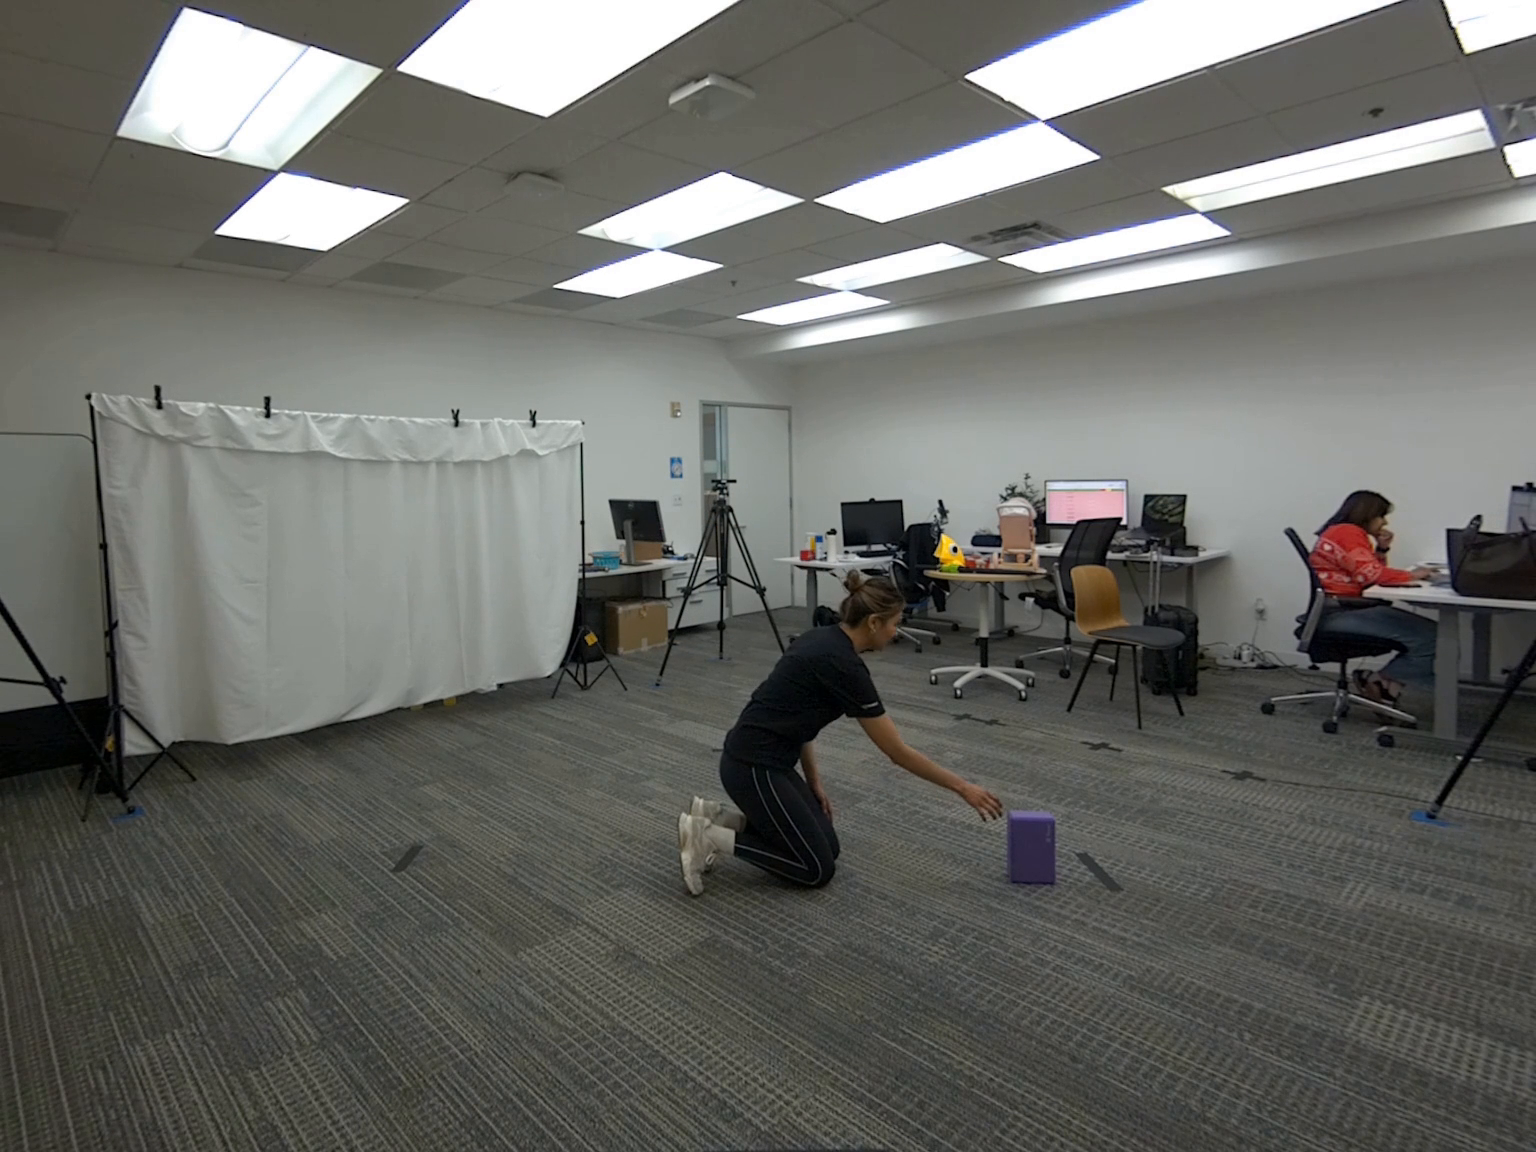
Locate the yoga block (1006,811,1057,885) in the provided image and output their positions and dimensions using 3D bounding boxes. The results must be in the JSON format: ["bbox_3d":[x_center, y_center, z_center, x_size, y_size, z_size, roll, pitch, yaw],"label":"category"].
[{"bbox_3d":[0.906,0.929,2.935,0.150,0.229,0.076,-1,3,8],"label":"yoga block"}]
